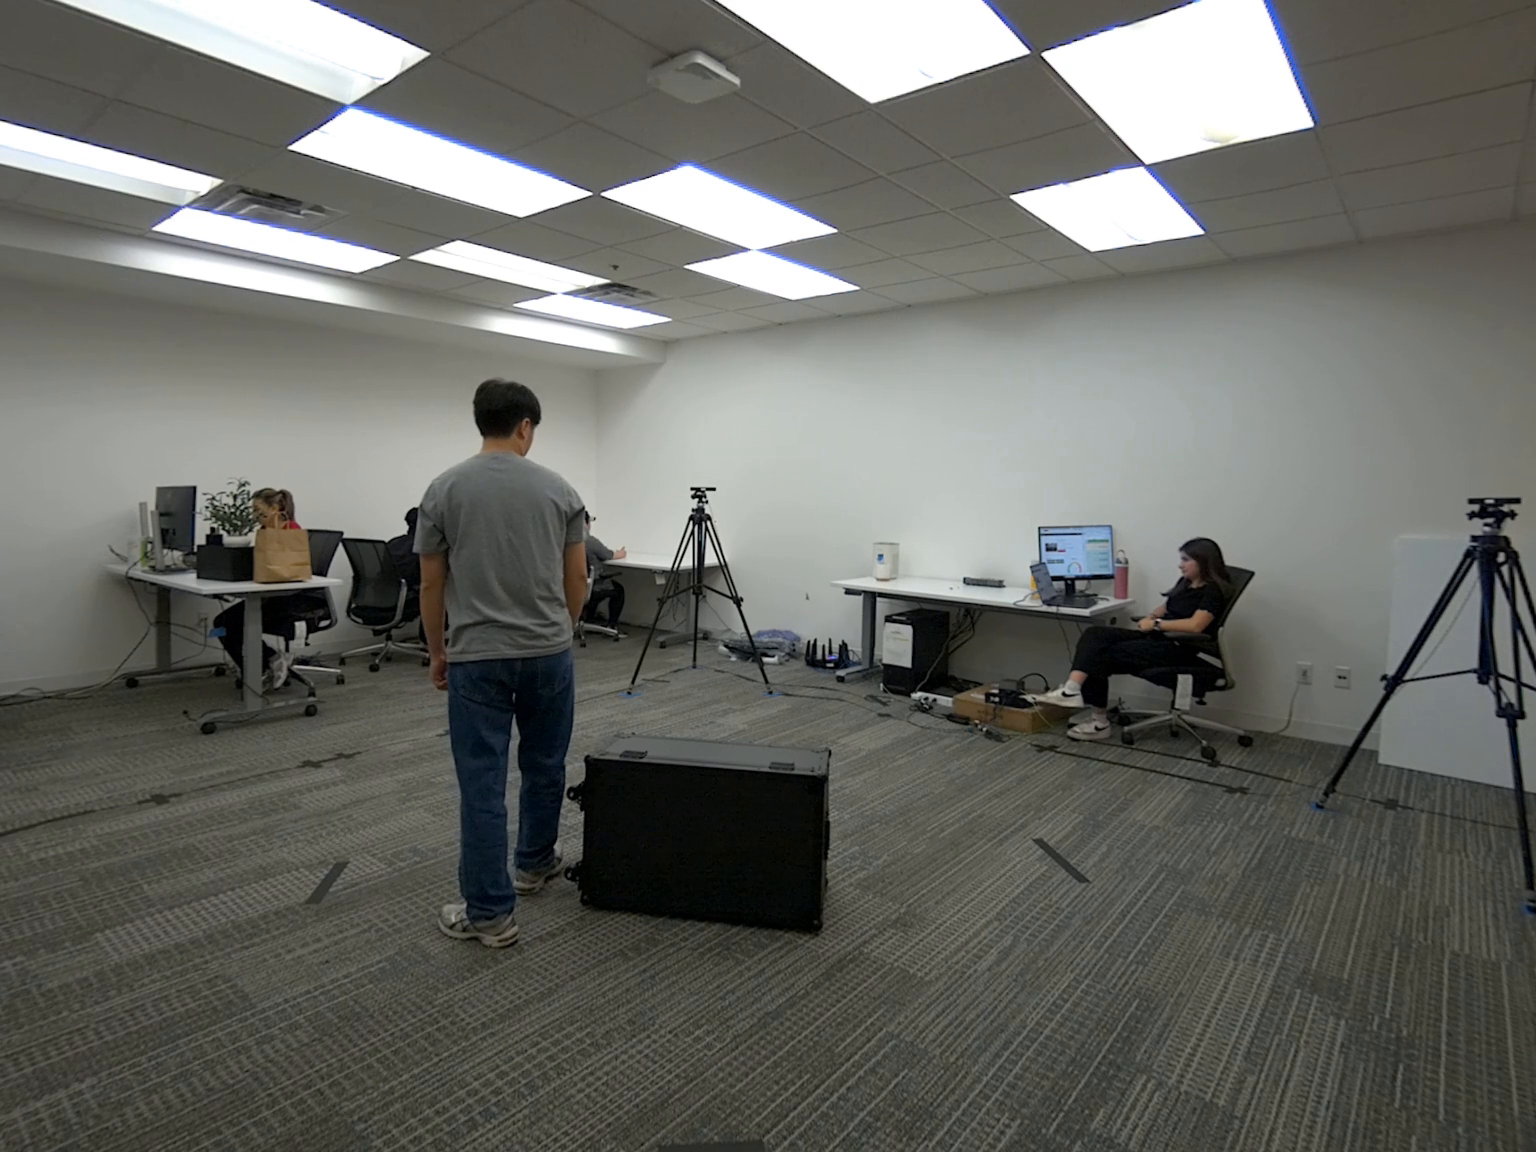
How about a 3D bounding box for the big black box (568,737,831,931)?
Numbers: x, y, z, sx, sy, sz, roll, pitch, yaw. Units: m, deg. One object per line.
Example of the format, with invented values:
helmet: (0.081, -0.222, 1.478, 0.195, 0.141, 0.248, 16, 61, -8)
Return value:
big black box: (-0.233, 0.825, 2.900, 0.871, 0.521, 0.392, 2, 1, 10)
